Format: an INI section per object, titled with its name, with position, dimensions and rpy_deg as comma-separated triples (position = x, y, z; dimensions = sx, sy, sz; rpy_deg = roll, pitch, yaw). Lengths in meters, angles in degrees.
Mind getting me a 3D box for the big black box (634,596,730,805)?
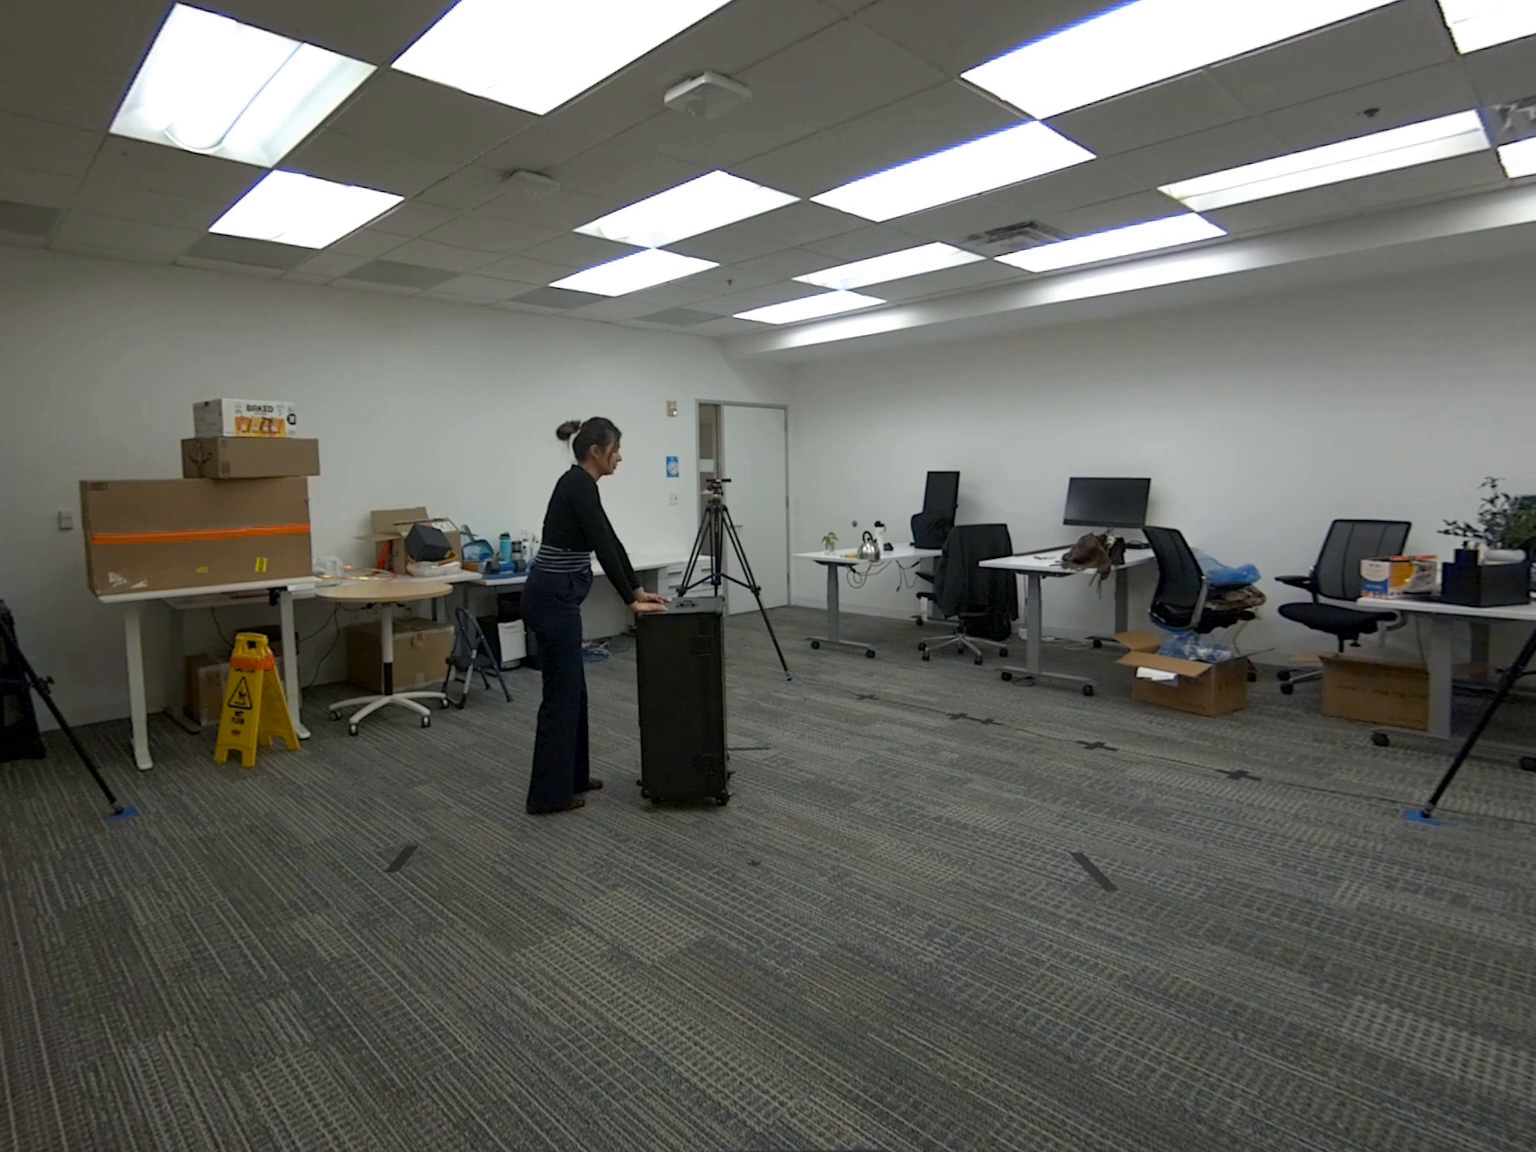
[big black box]
position = -0.381, 0.544, 3.787
dimensions = 0.396, 0.858, 0.523
rpy_deg = -1, 4, -1
